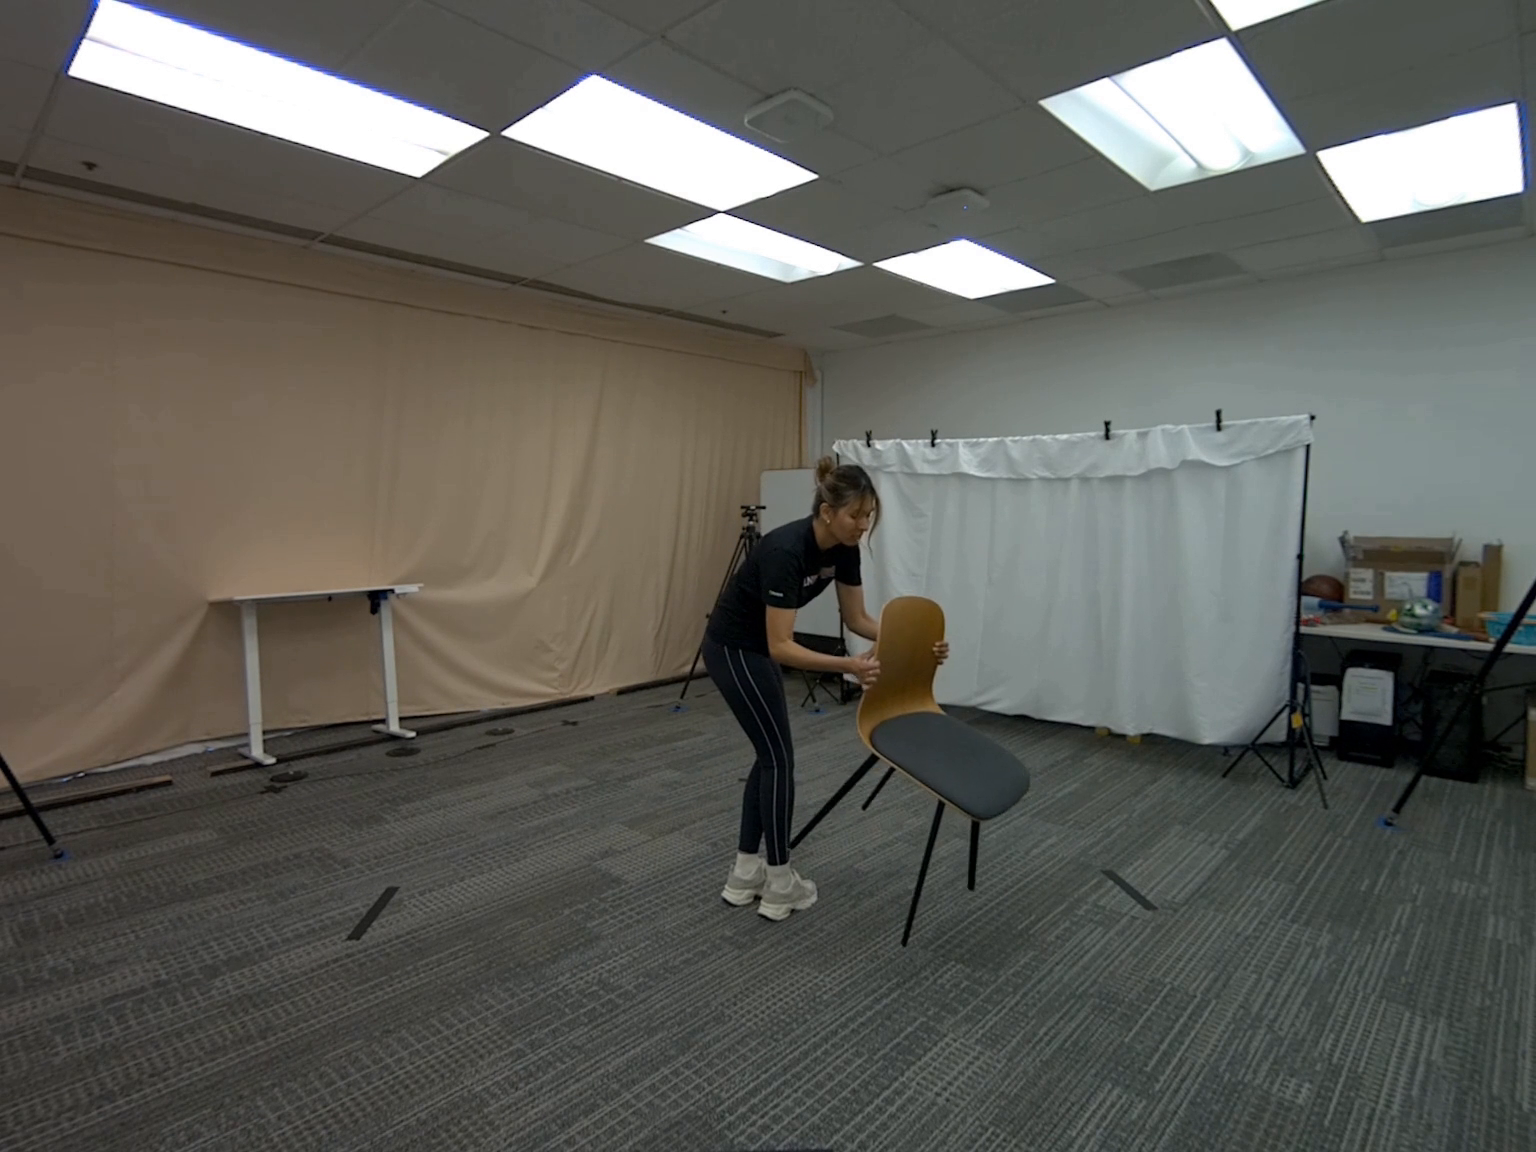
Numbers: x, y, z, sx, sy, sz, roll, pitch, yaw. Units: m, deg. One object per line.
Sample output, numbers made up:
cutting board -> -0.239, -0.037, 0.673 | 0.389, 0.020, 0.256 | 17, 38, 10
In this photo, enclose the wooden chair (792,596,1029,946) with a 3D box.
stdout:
wooden chair -> 0.502, 0.569, 2.558 | 0.542, 0.872, 0.464 | 26, 19, 35
